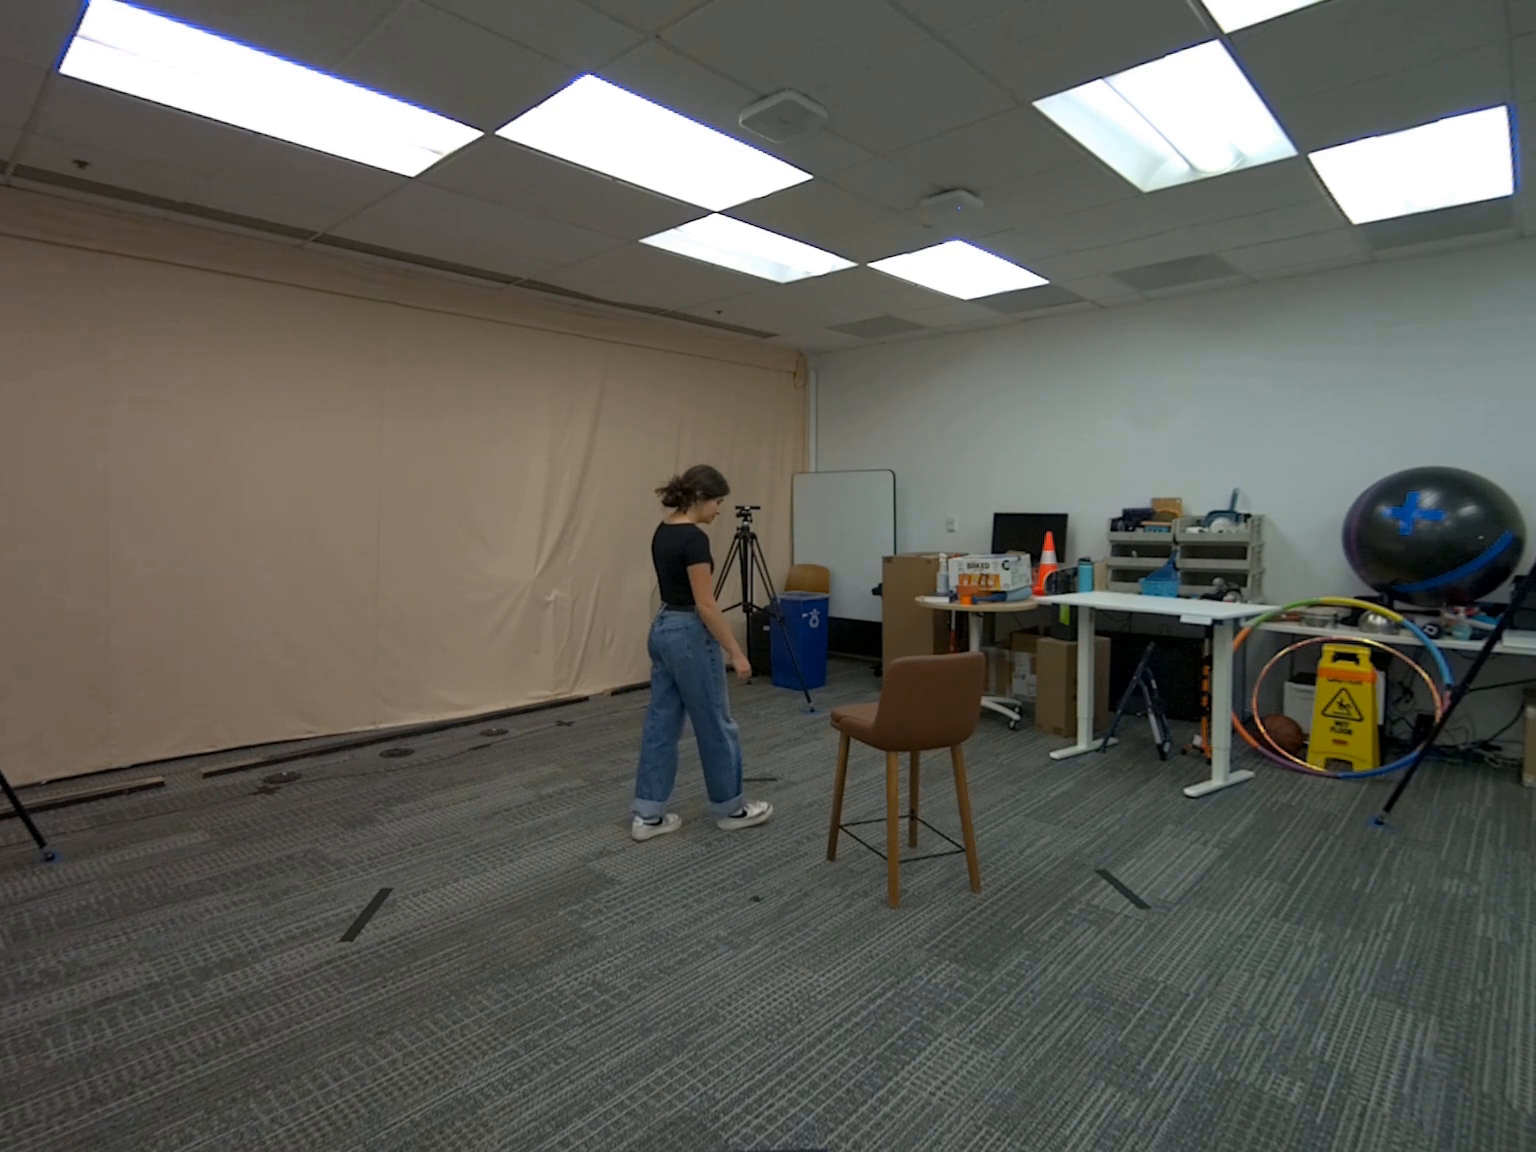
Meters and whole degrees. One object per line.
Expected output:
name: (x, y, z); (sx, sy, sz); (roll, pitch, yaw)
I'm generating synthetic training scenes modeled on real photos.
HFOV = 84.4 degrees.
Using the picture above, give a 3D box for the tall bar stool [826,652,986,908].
tall bar stool: (0.516, 0.694, 3.151); (0.446, 0.887, 0.479); (-1, 5, -24)
